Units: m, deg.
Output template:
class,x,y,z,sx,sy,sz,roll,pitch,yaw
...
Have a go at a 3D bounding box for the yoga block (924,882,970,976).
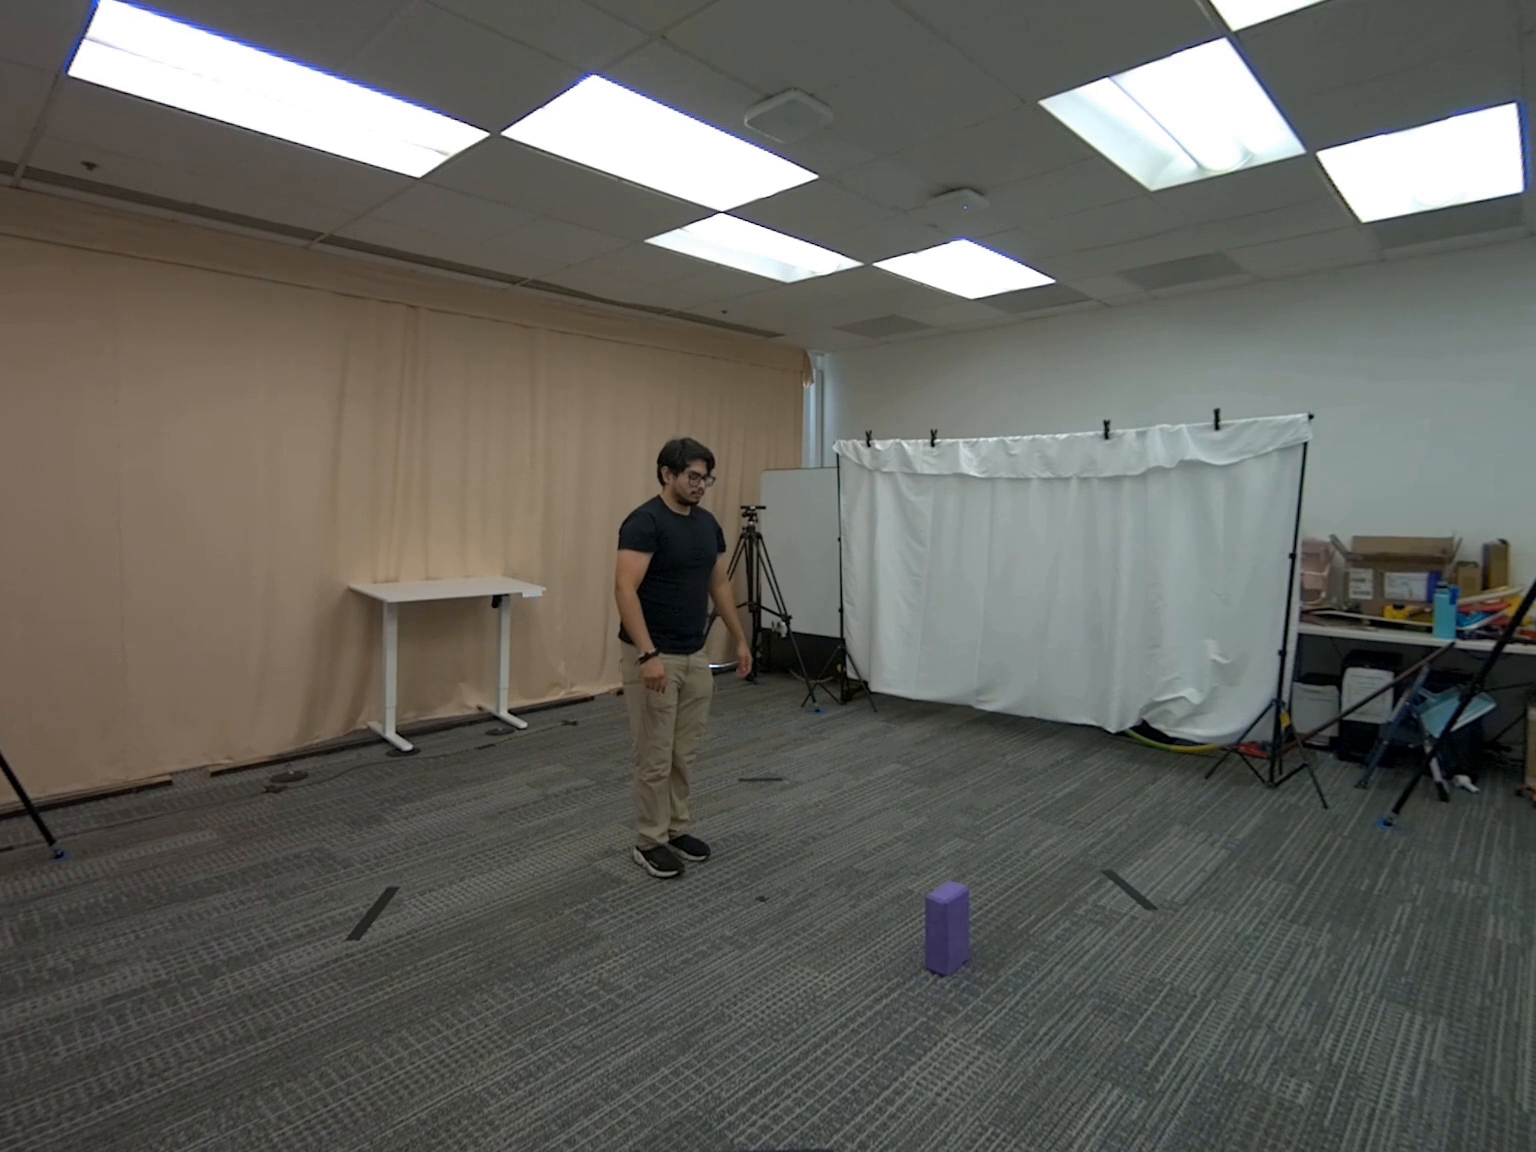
class,x,y,z,sx,sy,sz,roll,pitch,yaw
yoga block,0.550,1.065,2.544,0.079,0.229,0.144,3,5,42
